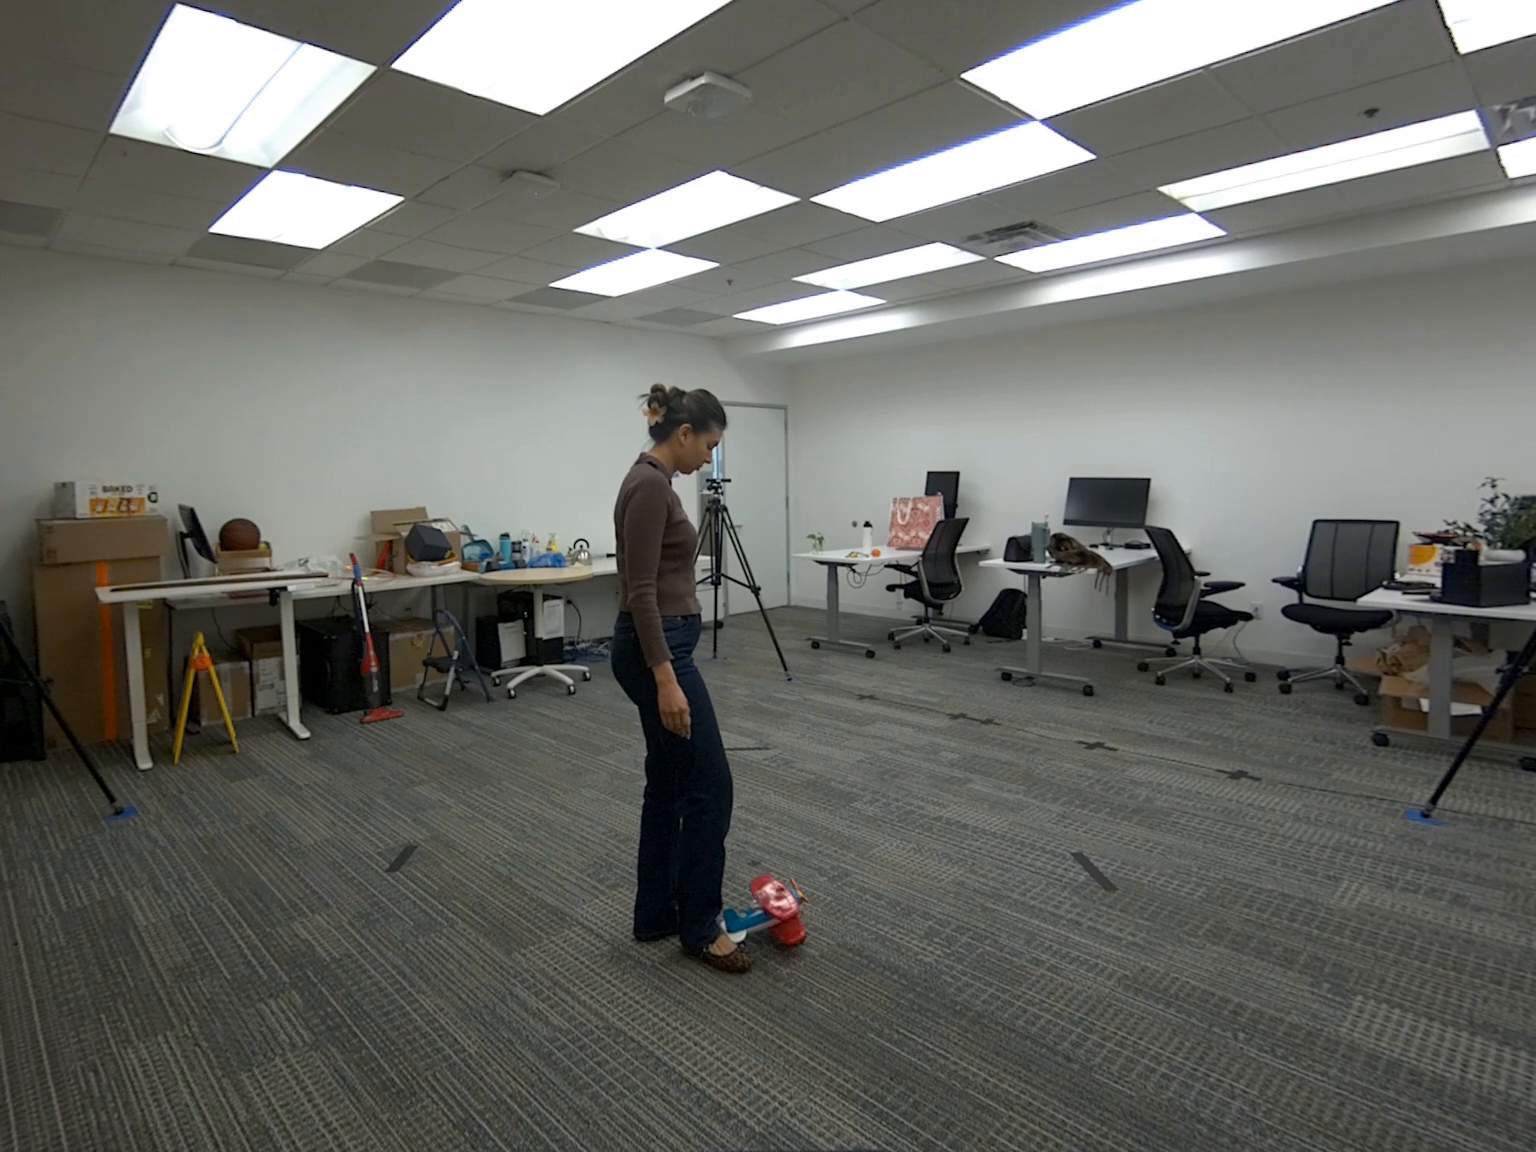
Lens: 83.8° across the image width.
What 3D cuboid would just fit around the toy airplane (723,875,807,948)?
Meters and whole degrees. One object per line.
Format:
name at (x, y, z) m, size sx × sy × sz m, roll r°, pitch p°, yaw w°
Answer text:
toy airplane at (0.005, 1.031, 2.559) m, size 0.259 × 0.156 × 0.252 m, roll 5°, pitch 8°, yaw 40°
